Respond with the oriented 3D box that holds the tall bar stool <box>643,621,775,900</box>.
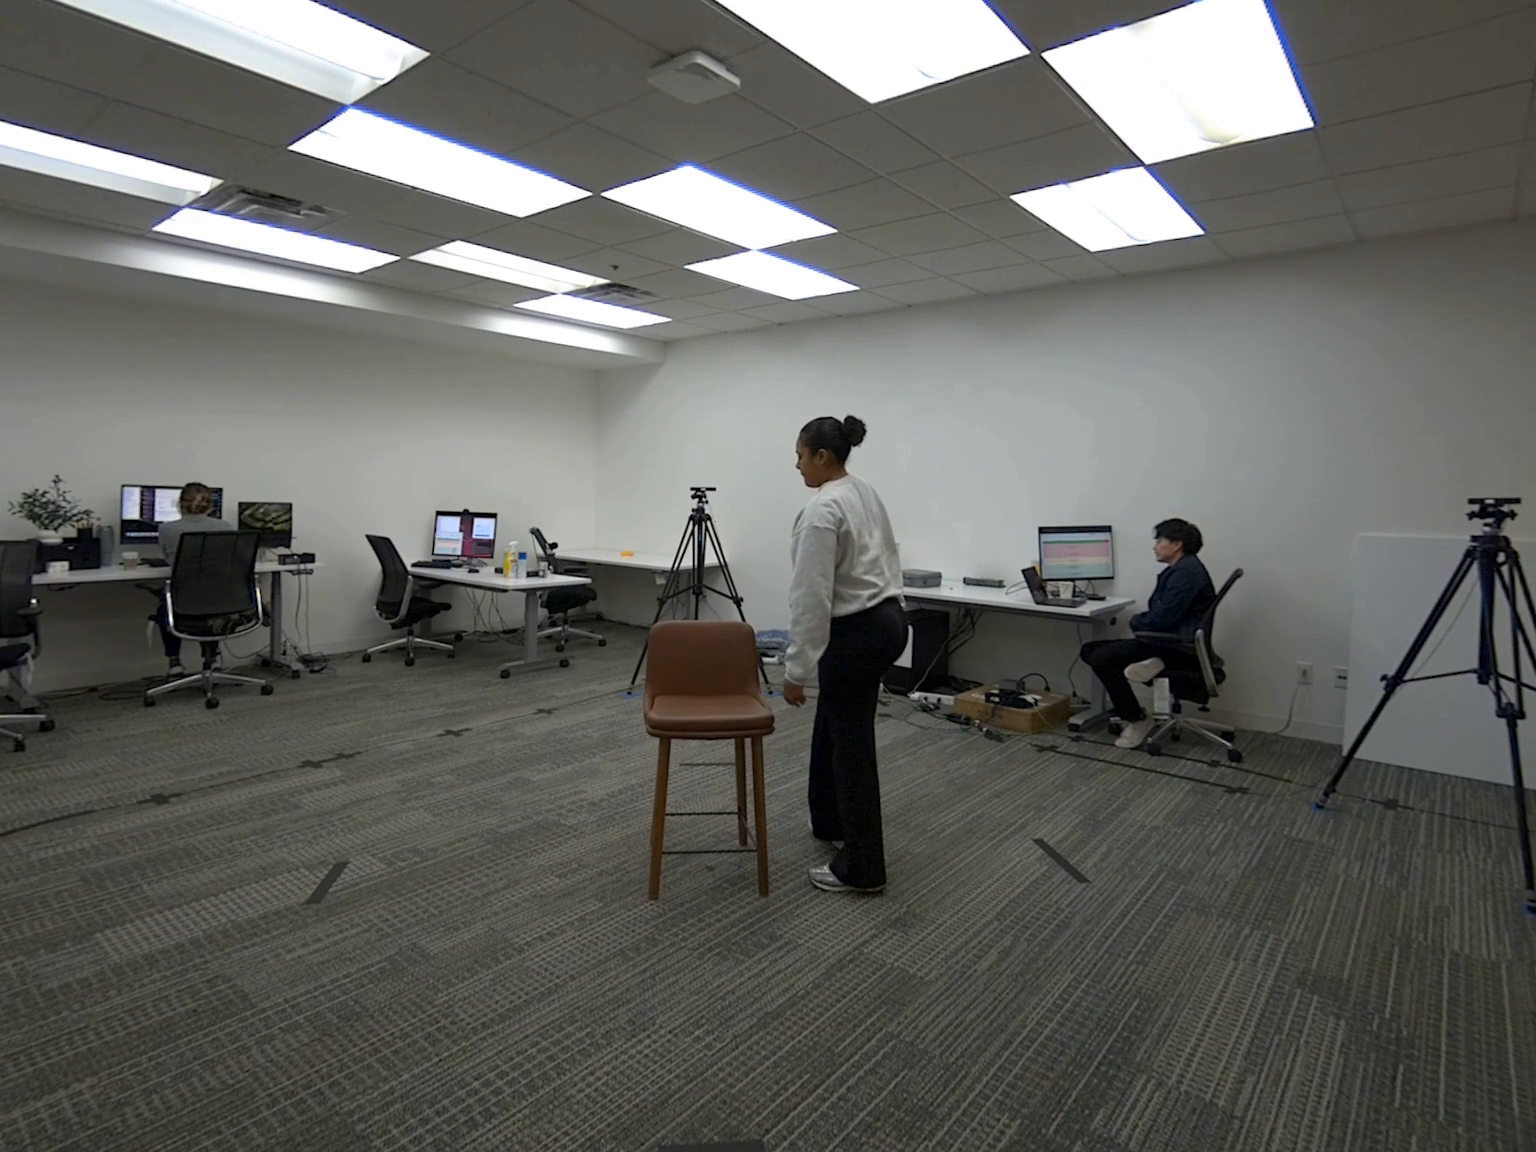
[{"bbox_3d":[-0.227,0.637,3.088,0.453,0.888,0.472,1,2,-8],"label":"tall bar stool"}]
